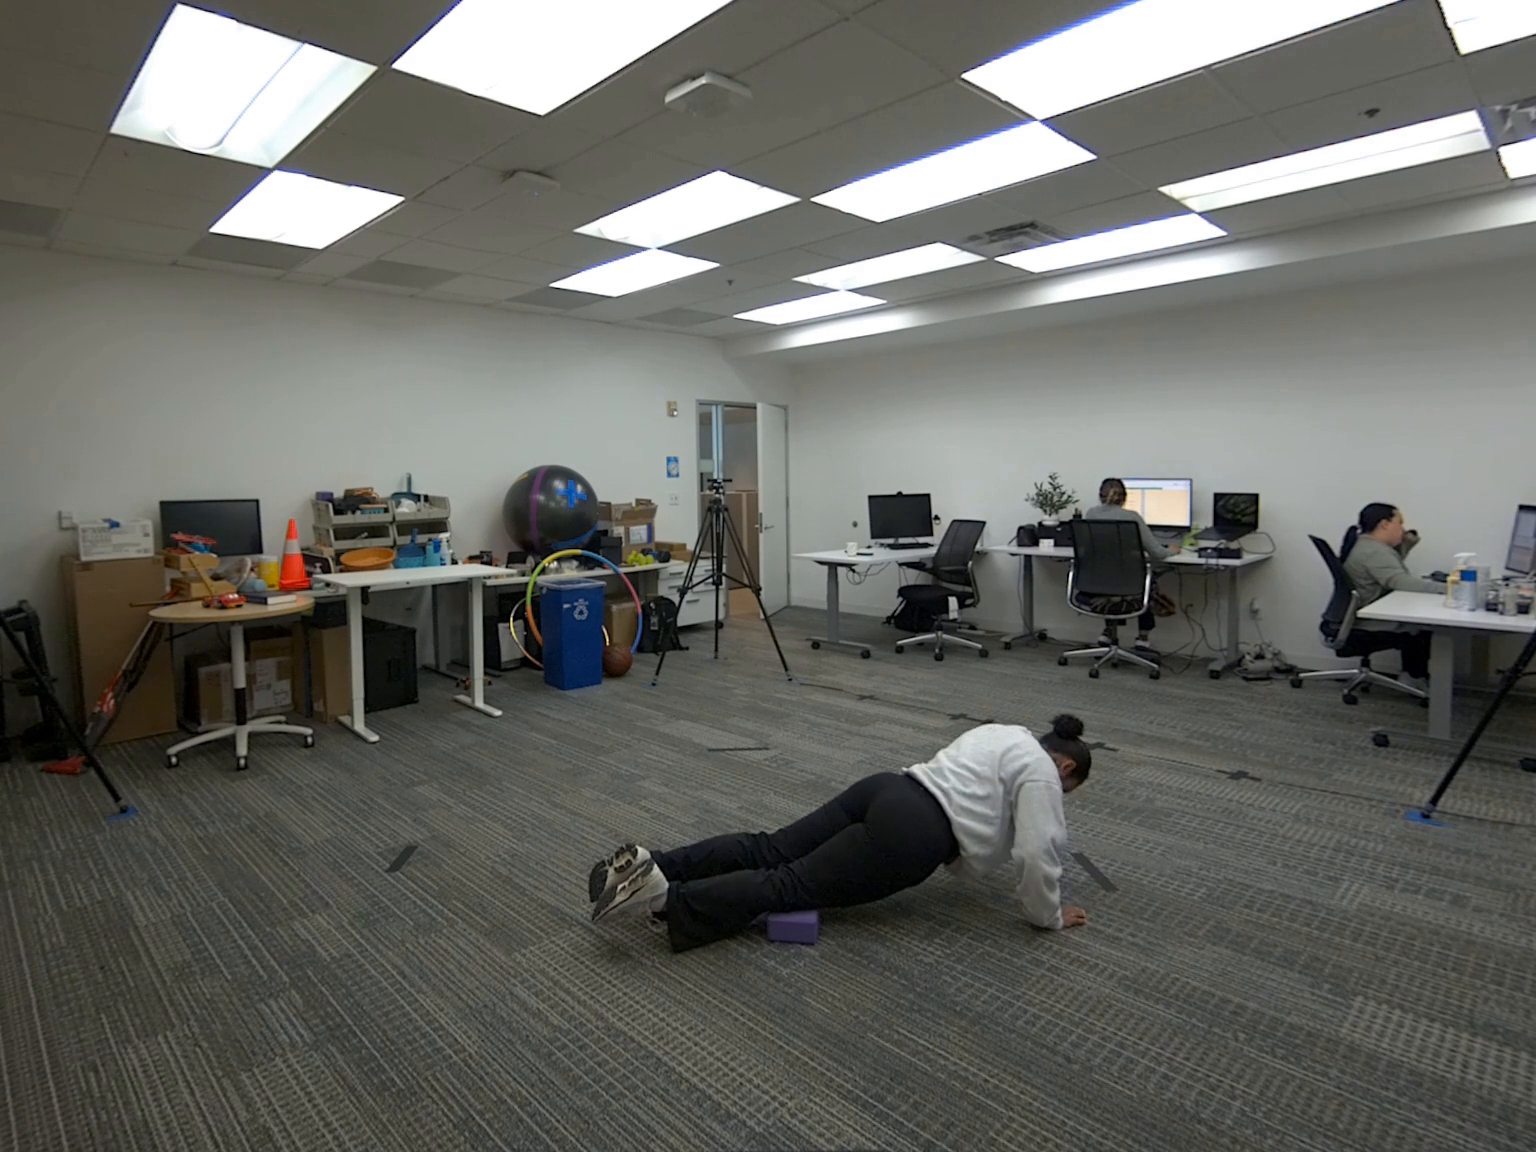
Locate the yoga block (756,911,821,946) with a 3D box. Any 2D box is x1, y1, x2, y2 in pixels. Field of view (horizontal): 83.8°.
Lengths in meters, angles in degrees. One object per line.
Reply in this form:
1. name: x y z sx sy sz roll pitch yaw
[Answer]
1. yoga block: 0.080 1.051 2.677 0.150 0.076 0.228 -1 5 10
